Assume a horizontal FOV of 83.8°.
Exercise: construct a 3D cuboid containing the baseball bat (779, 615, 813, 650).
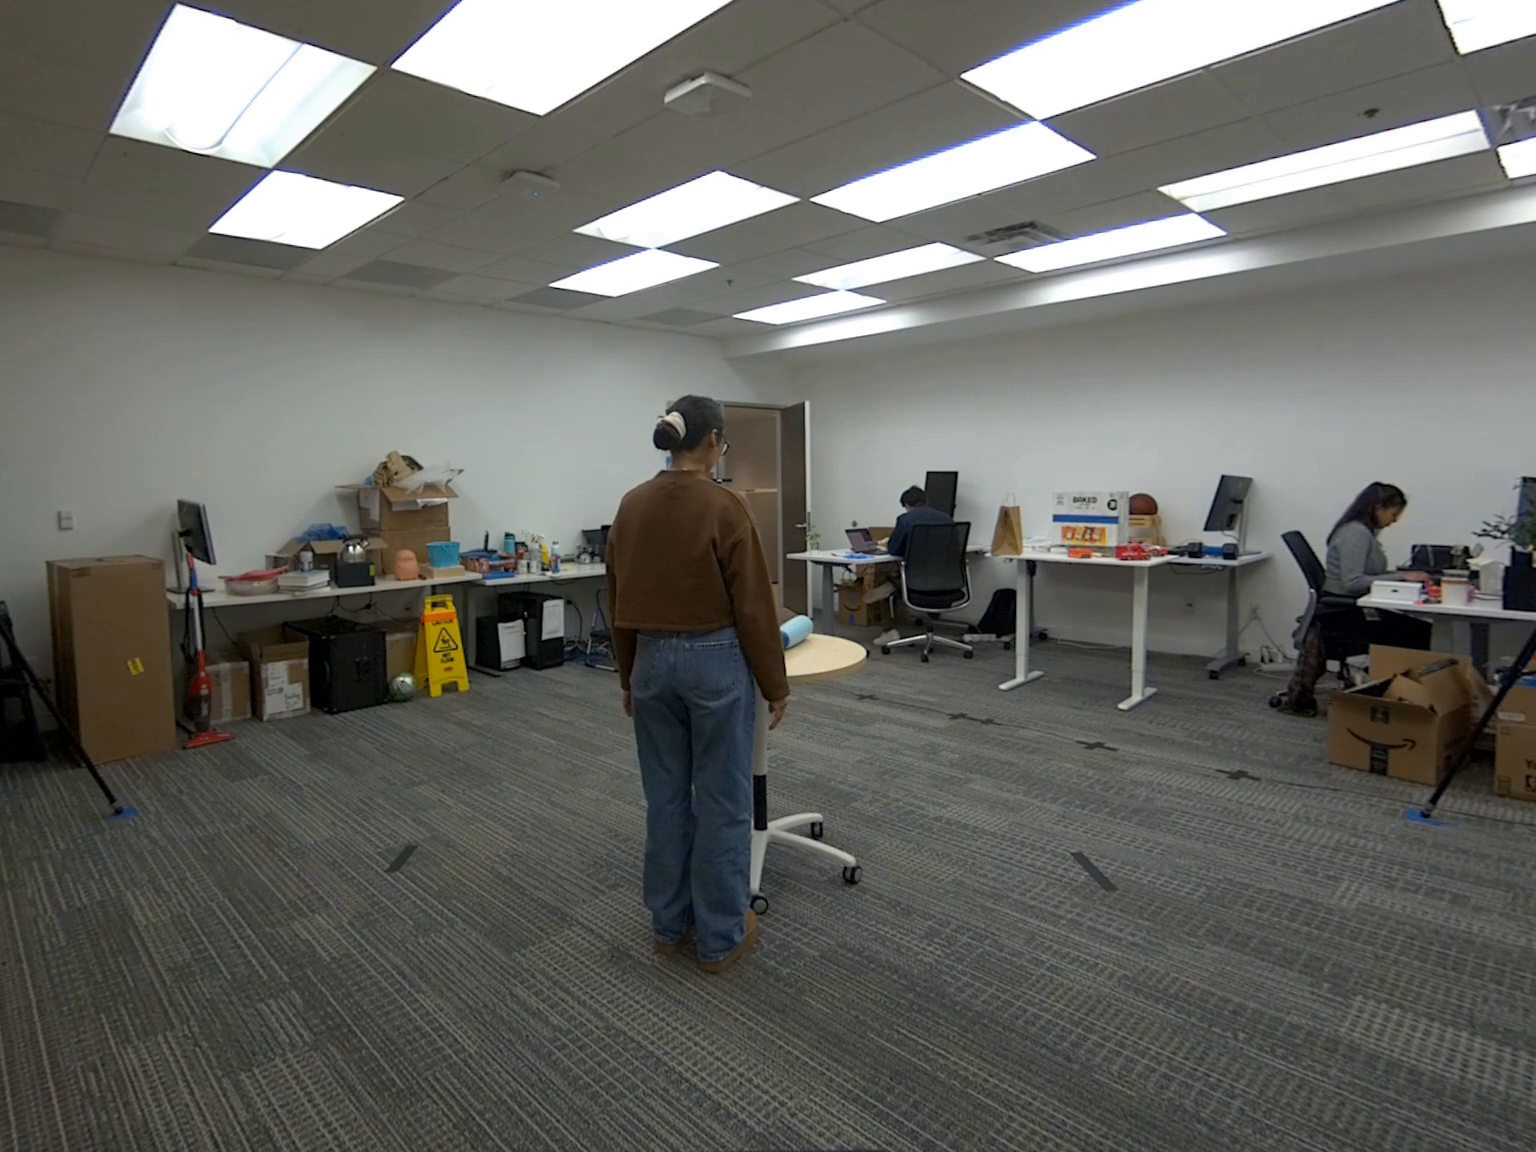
[{"bbox_3d":[0.039,0.236,3.013,0.091,0.088,0.536,1,10,20],"label":"baseball bat"}]
